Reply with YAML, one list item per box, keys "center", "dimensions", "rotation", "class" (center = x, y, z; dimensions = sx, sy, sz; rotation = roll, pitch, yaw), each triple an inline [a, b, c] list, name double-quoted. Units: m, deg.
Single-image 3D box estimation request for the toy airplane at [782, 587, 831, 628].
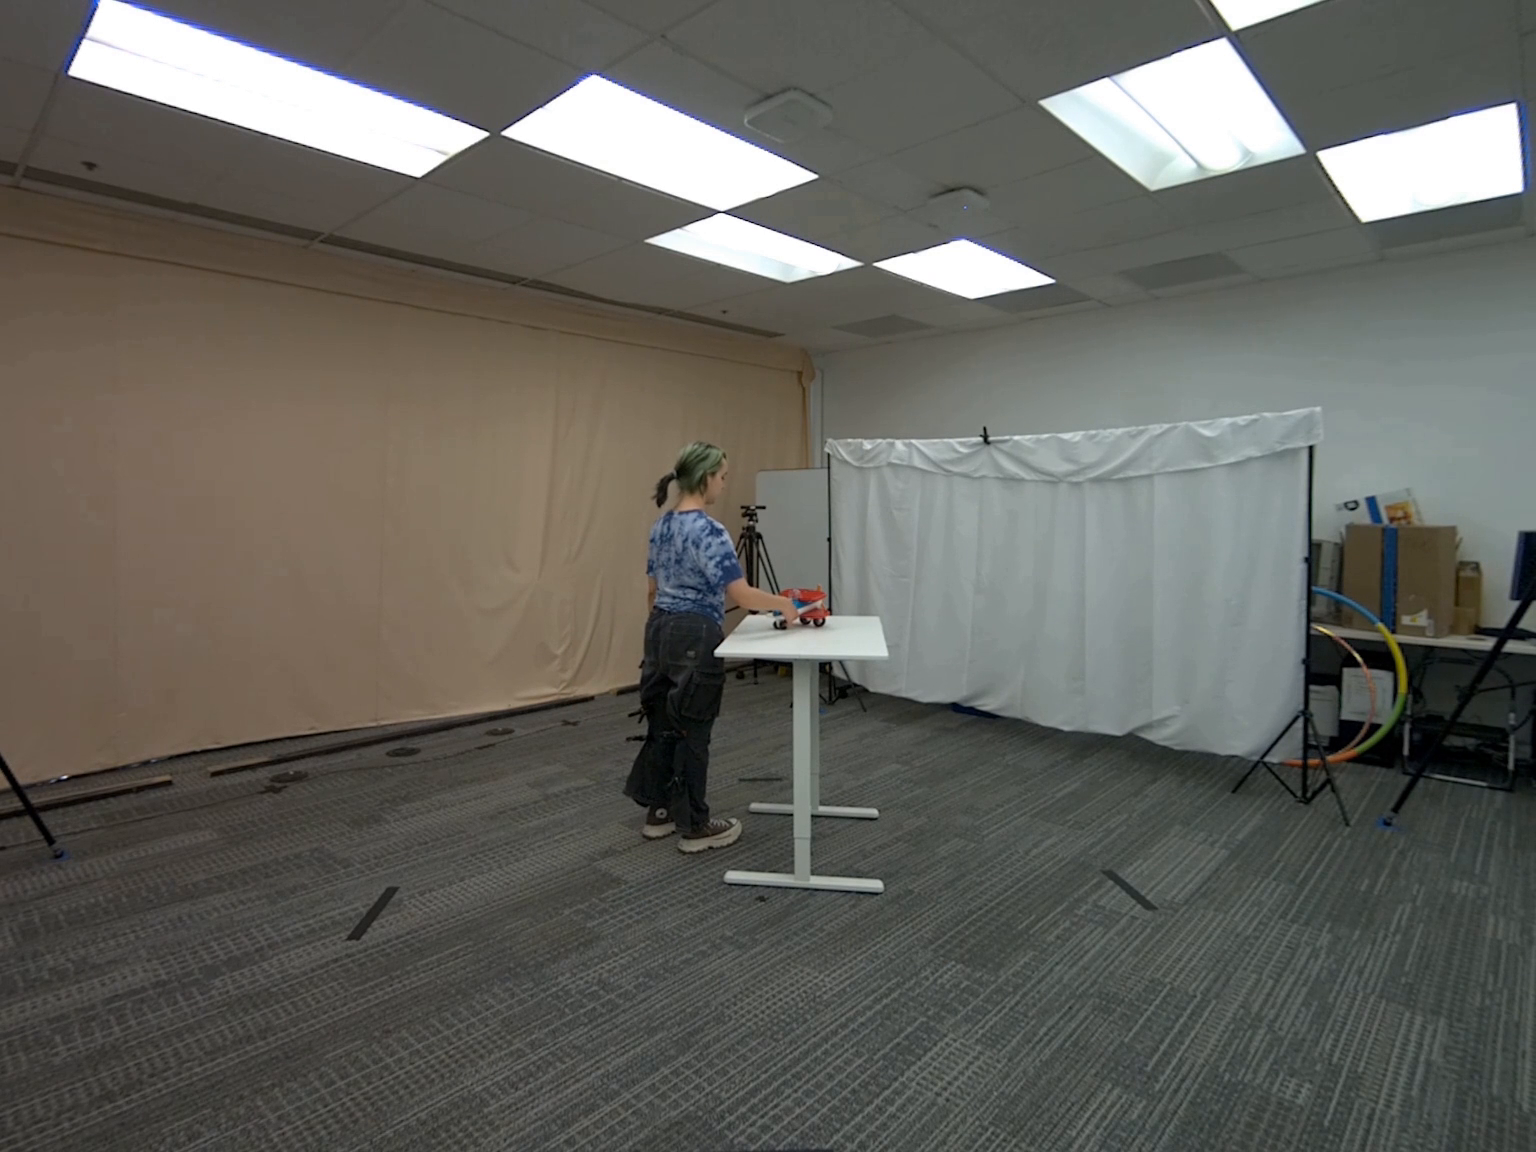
- center: [0.136, 0.140, 3.521]
  dimensions: [0.257, 0.156, 0.253]
  rotation: [1, 3, 25]
  class: "toy airplane"
